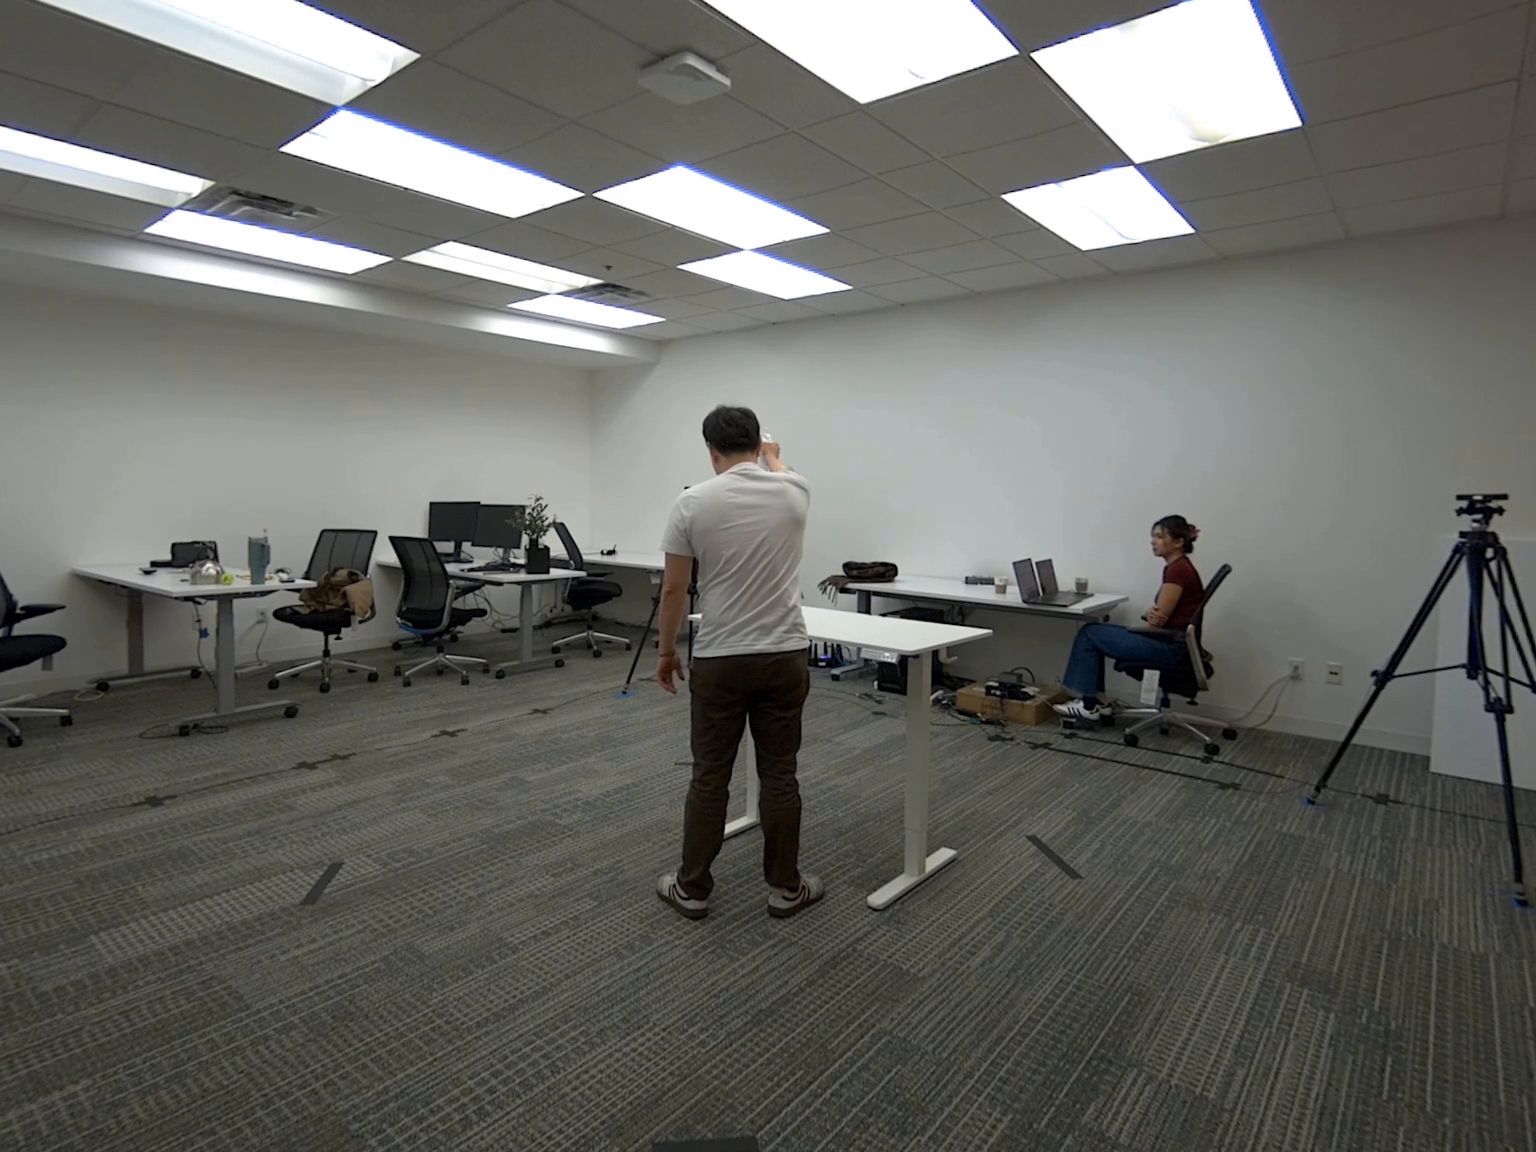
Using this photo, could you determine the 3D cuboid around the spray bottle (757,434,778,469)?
[{"bbox_3d":[-0.025,-0.418,3.383,0.088,0.295,0.090,8,11,9],"label":"spray bottle"}]
